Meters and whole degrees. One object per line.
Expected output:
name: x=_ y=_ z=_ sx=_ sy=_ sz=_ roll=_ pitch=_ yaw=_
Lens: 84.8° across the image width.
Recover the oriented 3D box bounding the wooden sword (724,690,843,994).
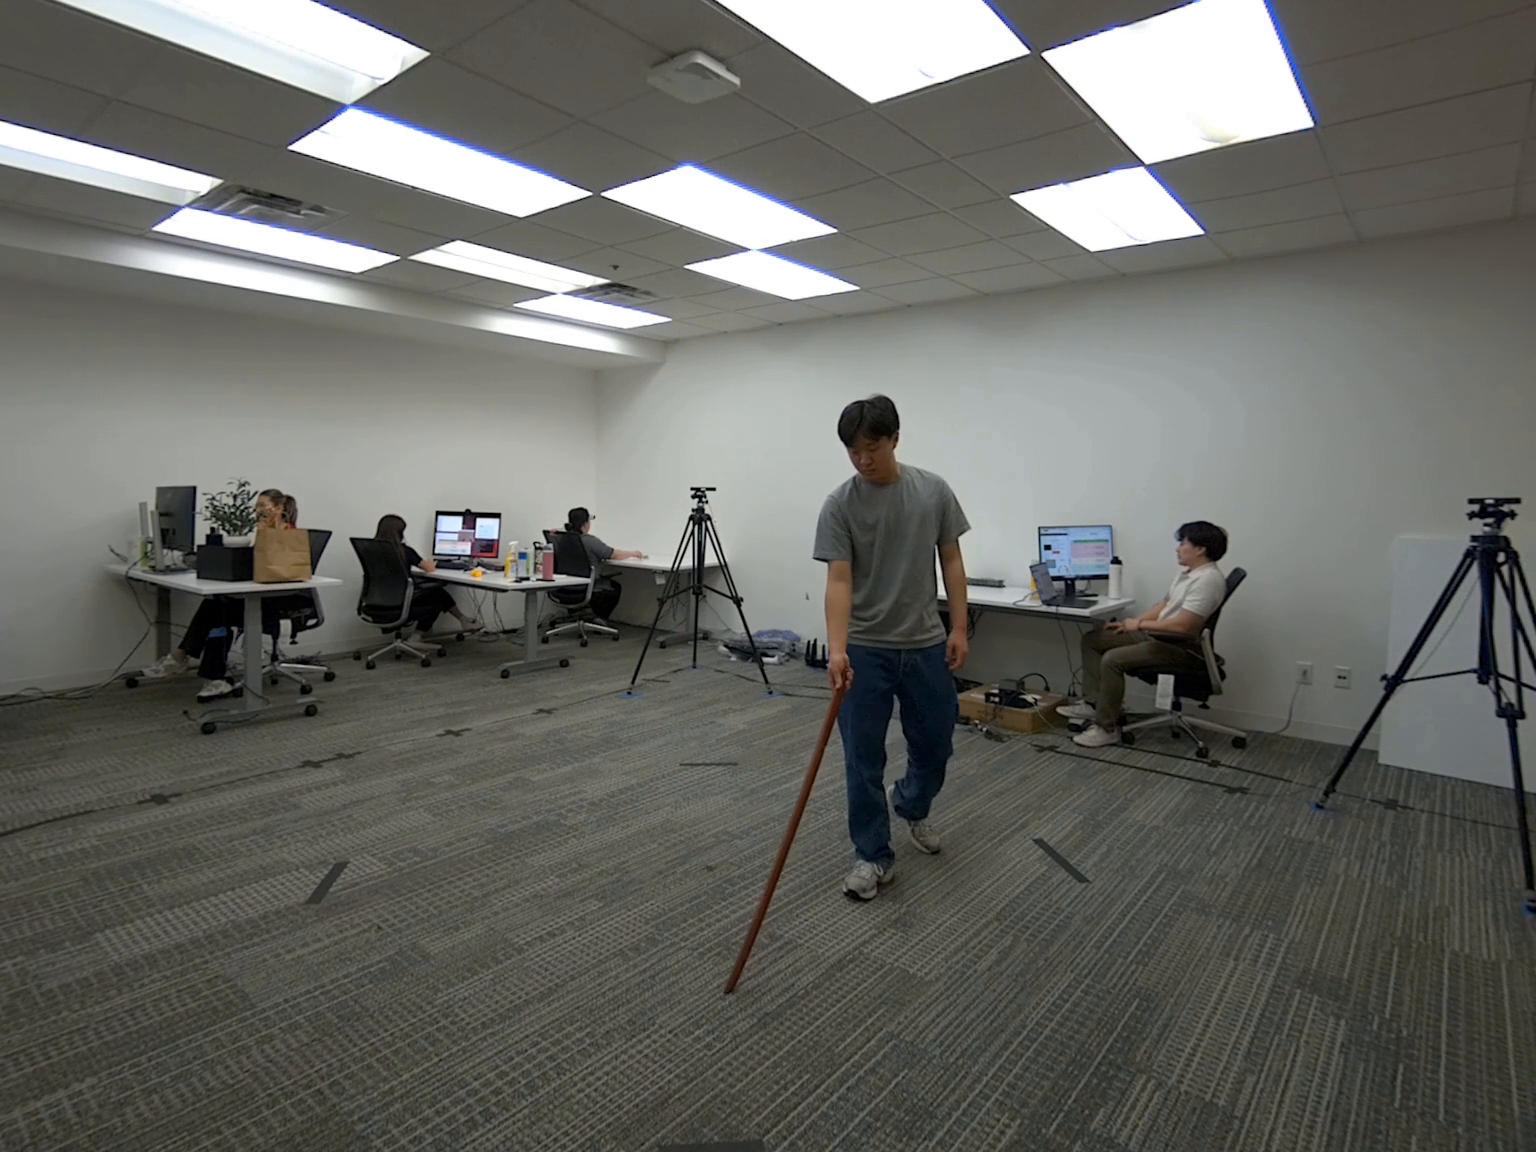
wooden sword: x=0.081 y=0.749 z=2.575 sx=0.023 sy=1.035 sz=0.052 roll=38 pitch=-31 yaw=-22
